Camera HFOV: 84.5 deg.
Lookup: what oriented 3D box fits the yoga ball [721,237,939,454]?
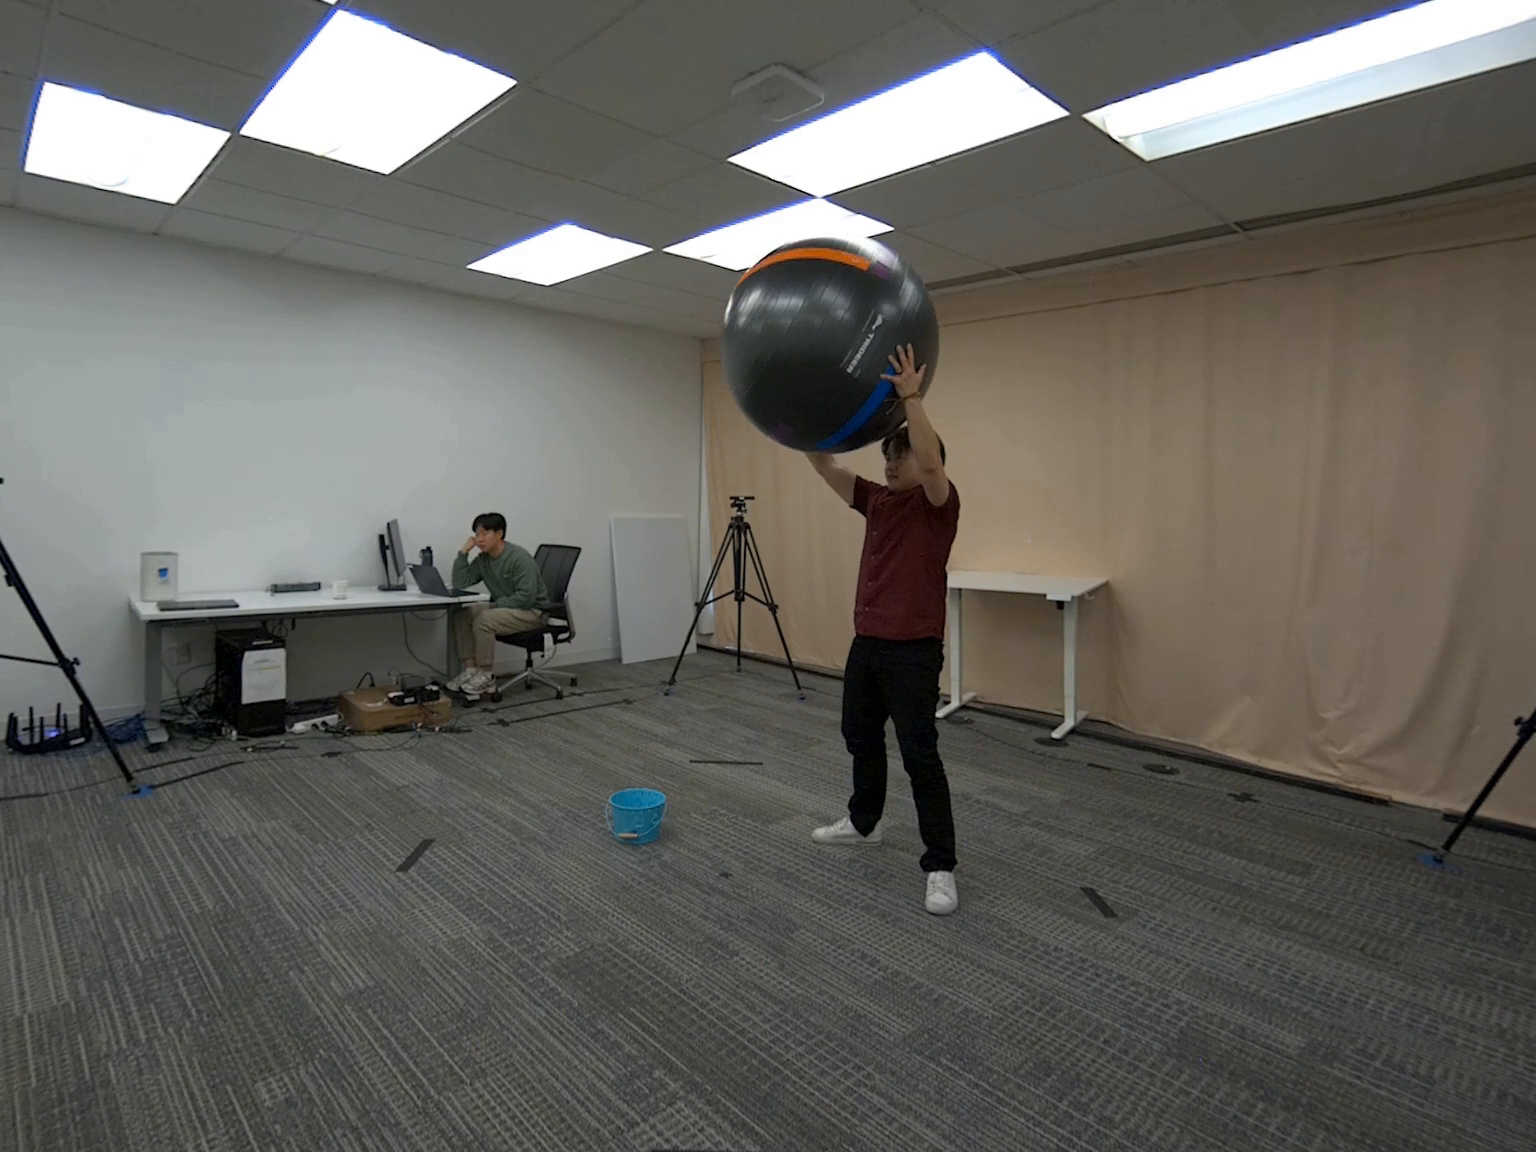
[{"bbox_3d":[0.203,-0.798,2.964,0.757,0.756,0.761,1,4,-1],"label":"yoga ball"}]
